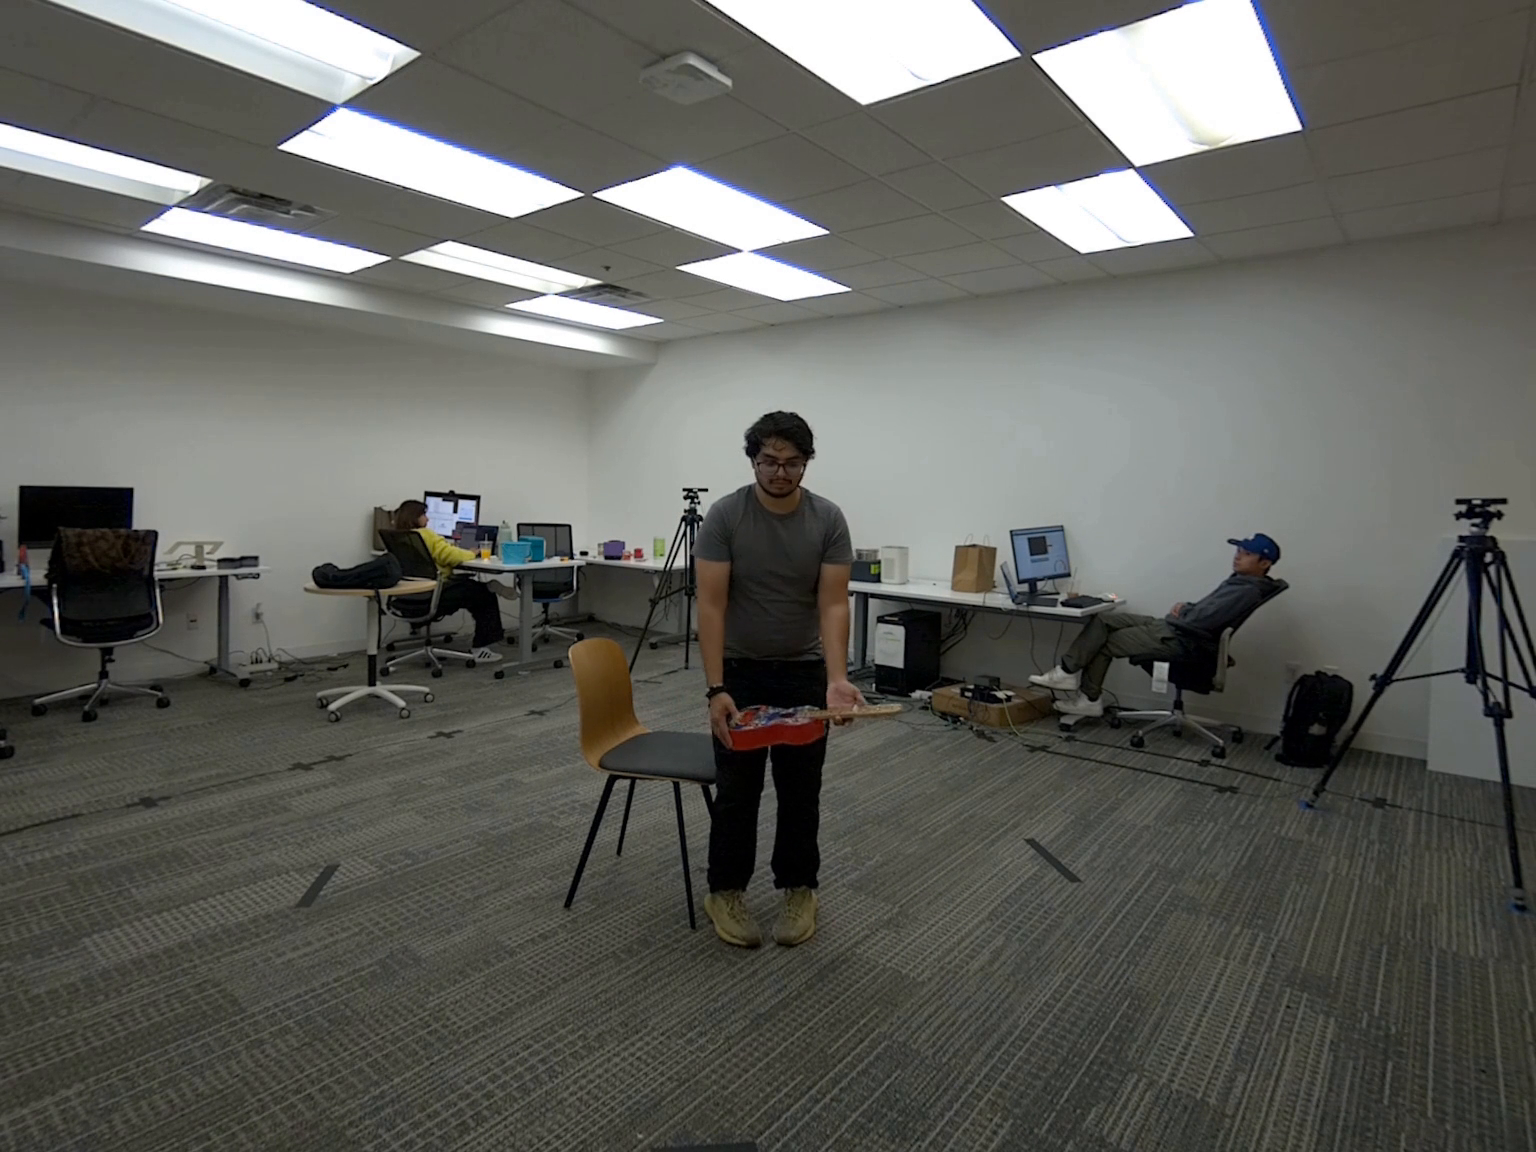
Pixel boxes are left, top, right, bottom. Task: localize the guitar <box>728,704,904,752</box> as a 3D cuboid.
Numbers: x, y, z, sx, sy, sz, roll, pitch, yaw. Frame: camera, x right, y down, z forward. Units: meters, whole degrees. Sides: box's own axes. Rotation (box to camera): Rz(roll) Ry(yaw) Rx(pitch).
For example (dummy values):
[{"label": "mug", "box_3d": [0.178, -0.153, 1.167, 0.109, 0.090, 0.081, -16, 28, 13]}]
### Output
[{"label": "guitar", "box_3d": [0.108, 0.410, 2.380, 0.510, 0.070, 0.190, -6, 10, 28]}]
